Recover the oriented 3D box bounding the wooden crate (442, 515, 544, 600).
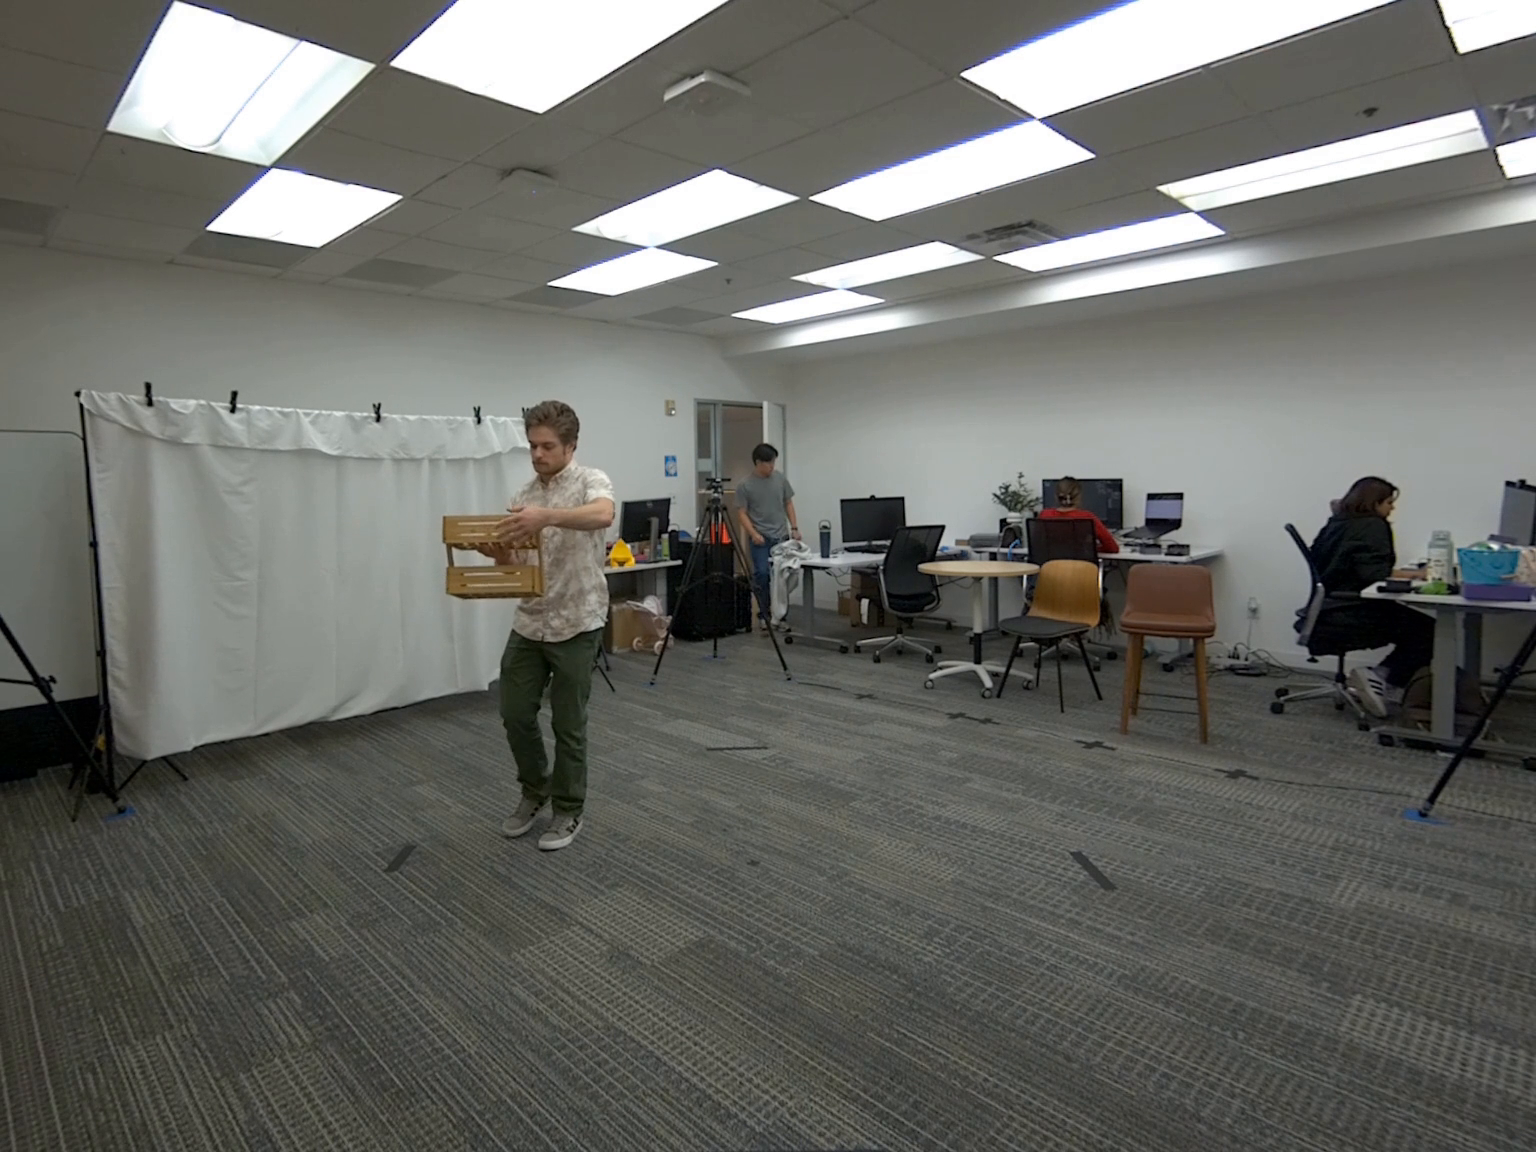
[{"bbox_3d":[-0.984,-0.069,3.042,0.325,0.274,0.301,0,-3,0],"label":"wooden crate"}]
